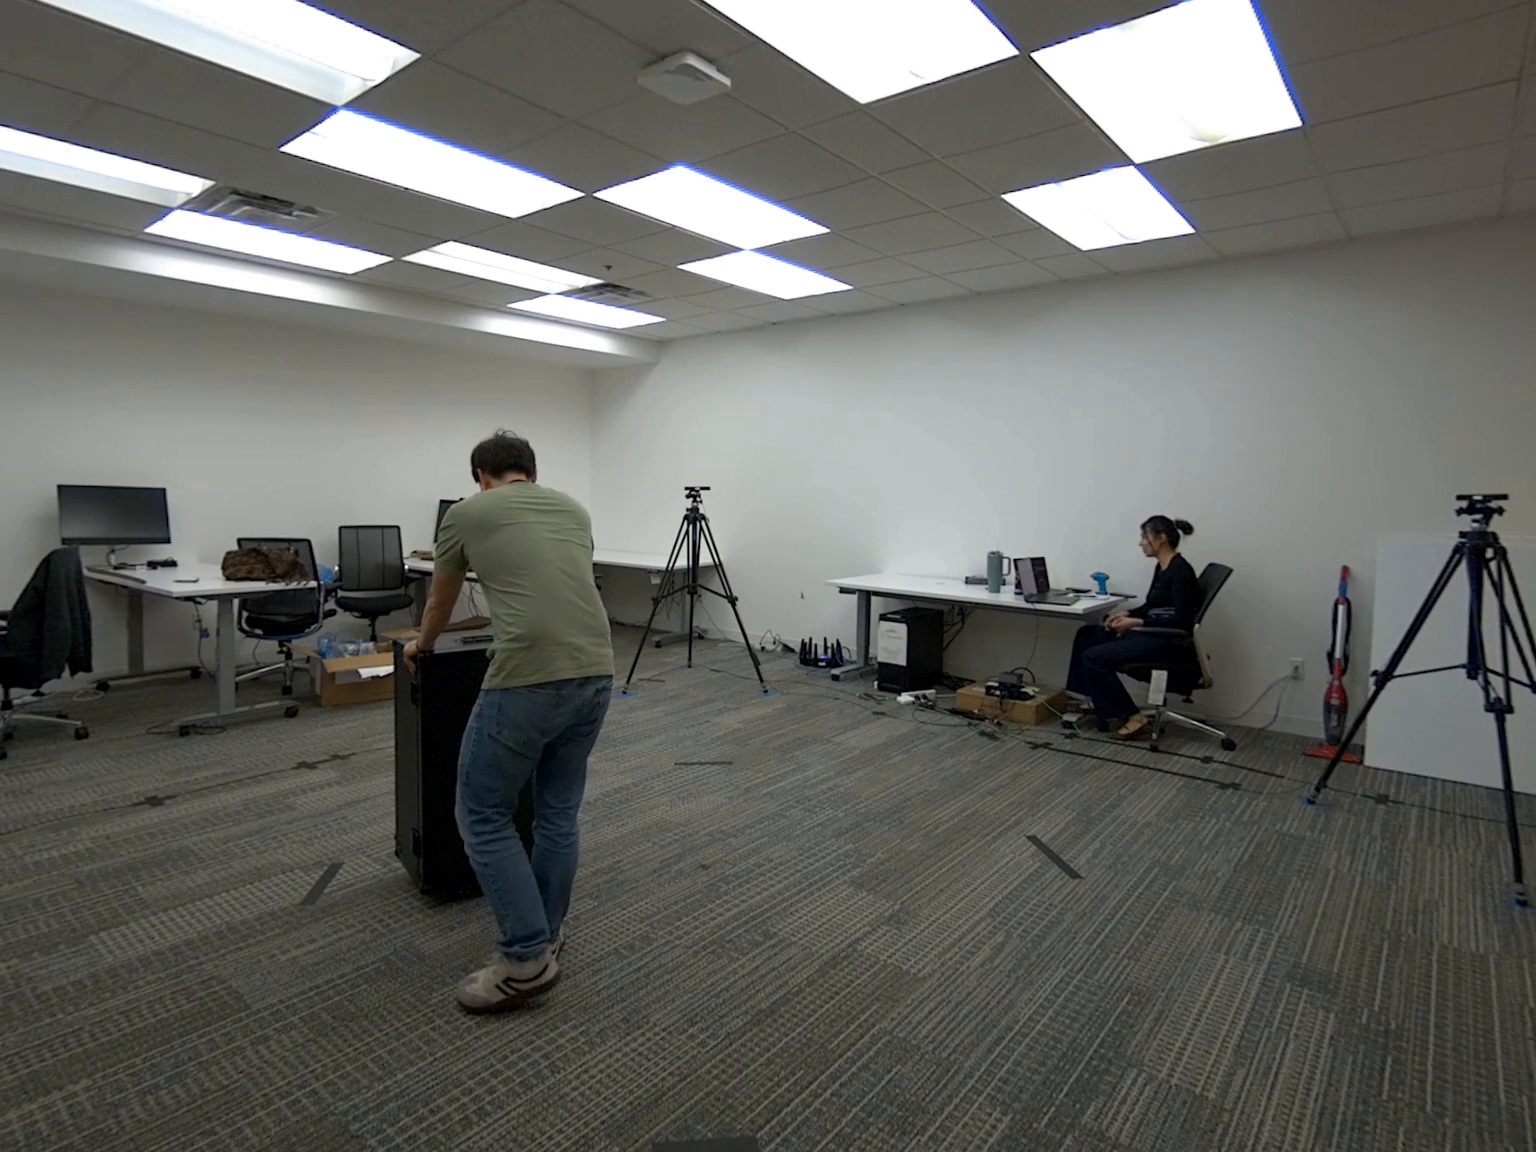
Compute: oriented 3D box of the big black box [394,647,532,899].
[{"bbox_3d":[-1.050,0.642,2.995,0.506,0.859,0.409,-2,4,-36],"label":"big black box"}]
